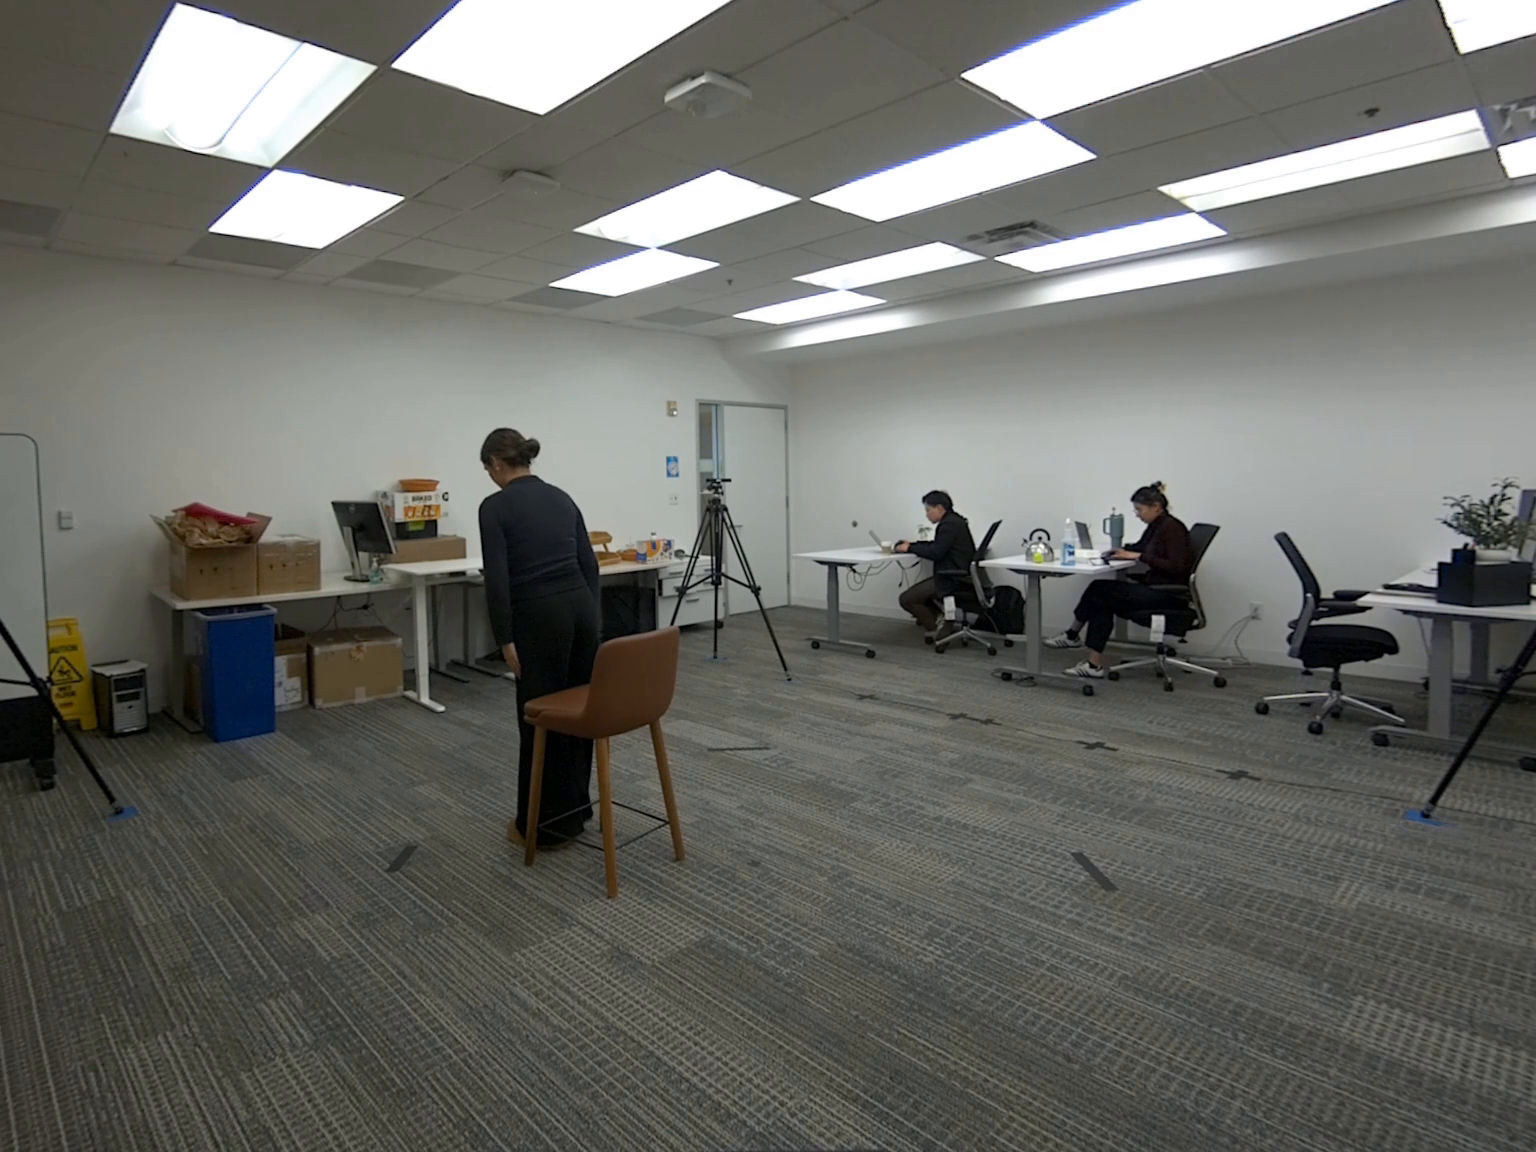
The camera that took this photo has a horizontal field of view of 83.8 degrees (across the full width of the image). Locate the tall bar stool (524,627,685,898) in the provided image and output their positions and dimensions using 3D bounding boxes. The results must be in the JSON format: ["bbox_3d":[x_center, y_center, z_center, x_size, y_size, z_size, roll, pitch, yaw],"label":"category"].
[{"bbox_3d":[-0.600,0.617,3.112,0.481,0.886,0.445,4,6,37],"label":"tall bar stool"}]
